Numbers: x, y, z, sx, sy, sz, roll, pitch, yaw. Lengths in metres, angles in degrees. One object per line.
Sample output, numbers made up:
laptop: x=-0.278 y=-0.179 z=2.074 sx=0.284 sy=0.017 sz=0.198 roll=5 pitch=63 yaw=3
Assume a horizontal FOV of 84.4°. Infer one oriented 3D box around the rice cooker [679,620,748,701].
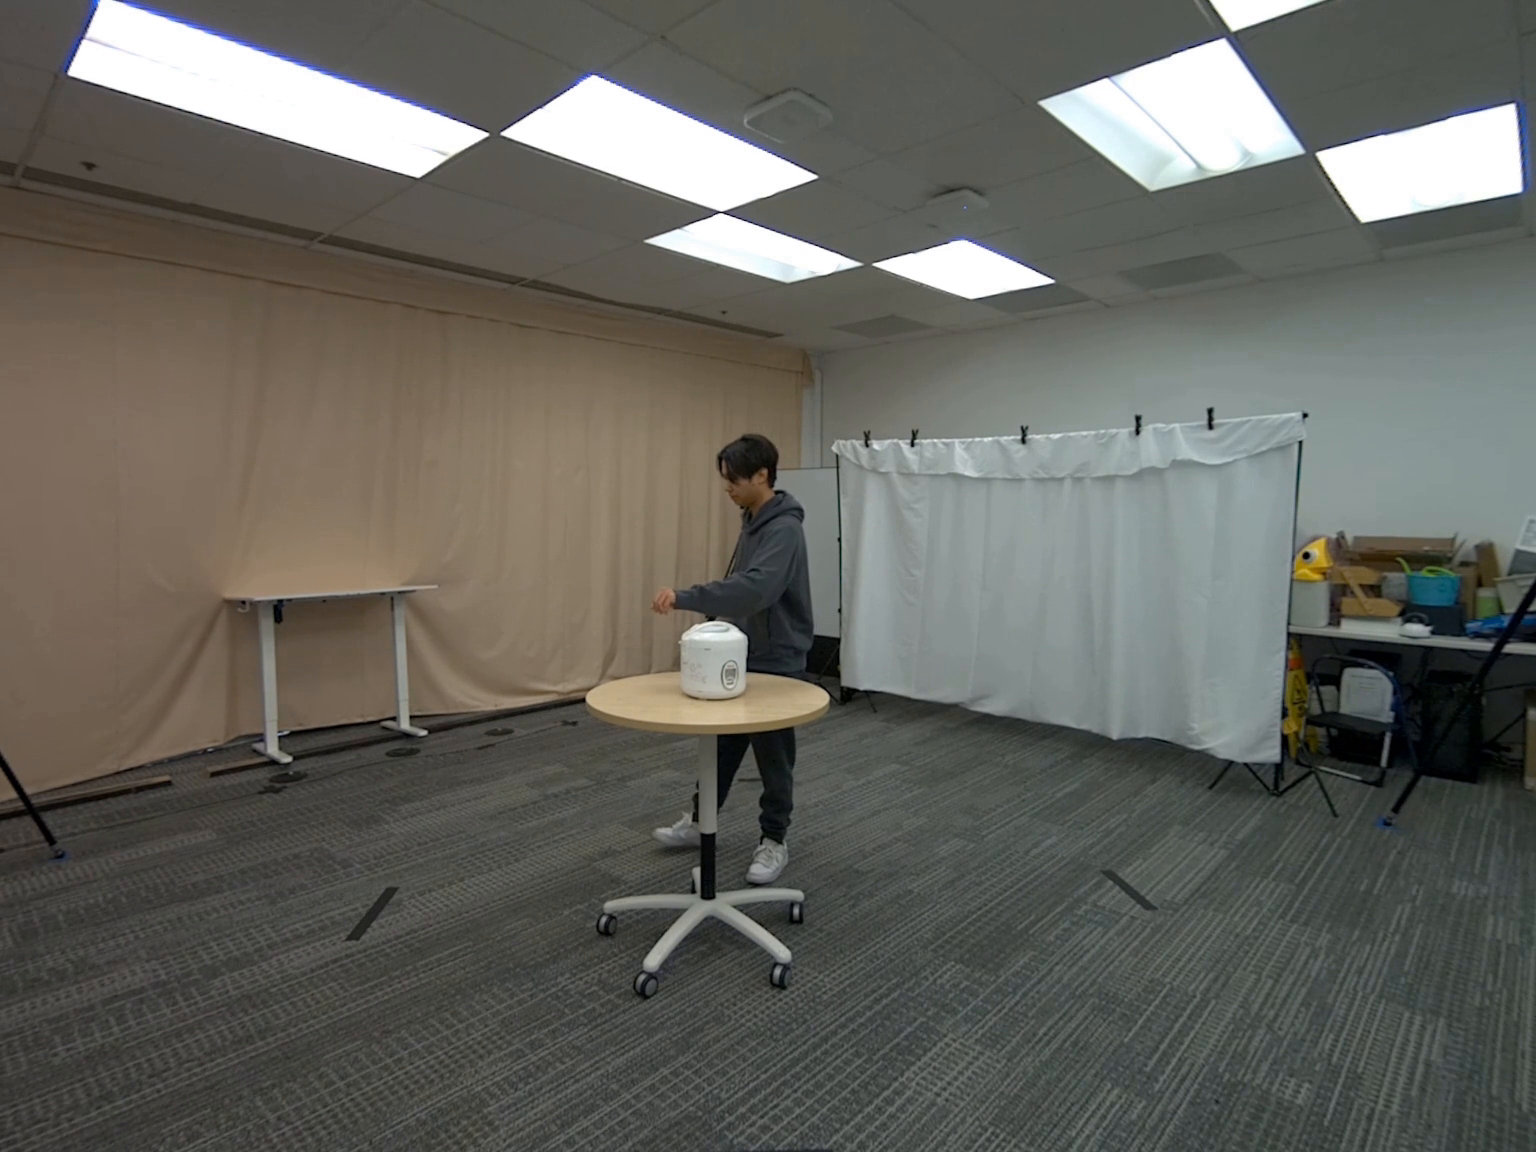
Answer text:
rice cooker: x=-0.170 y=0.258 z=2.655 sx=0.215 sy=0.232 sz=0.224 roll=-3 pitch=3 yaw=-31
